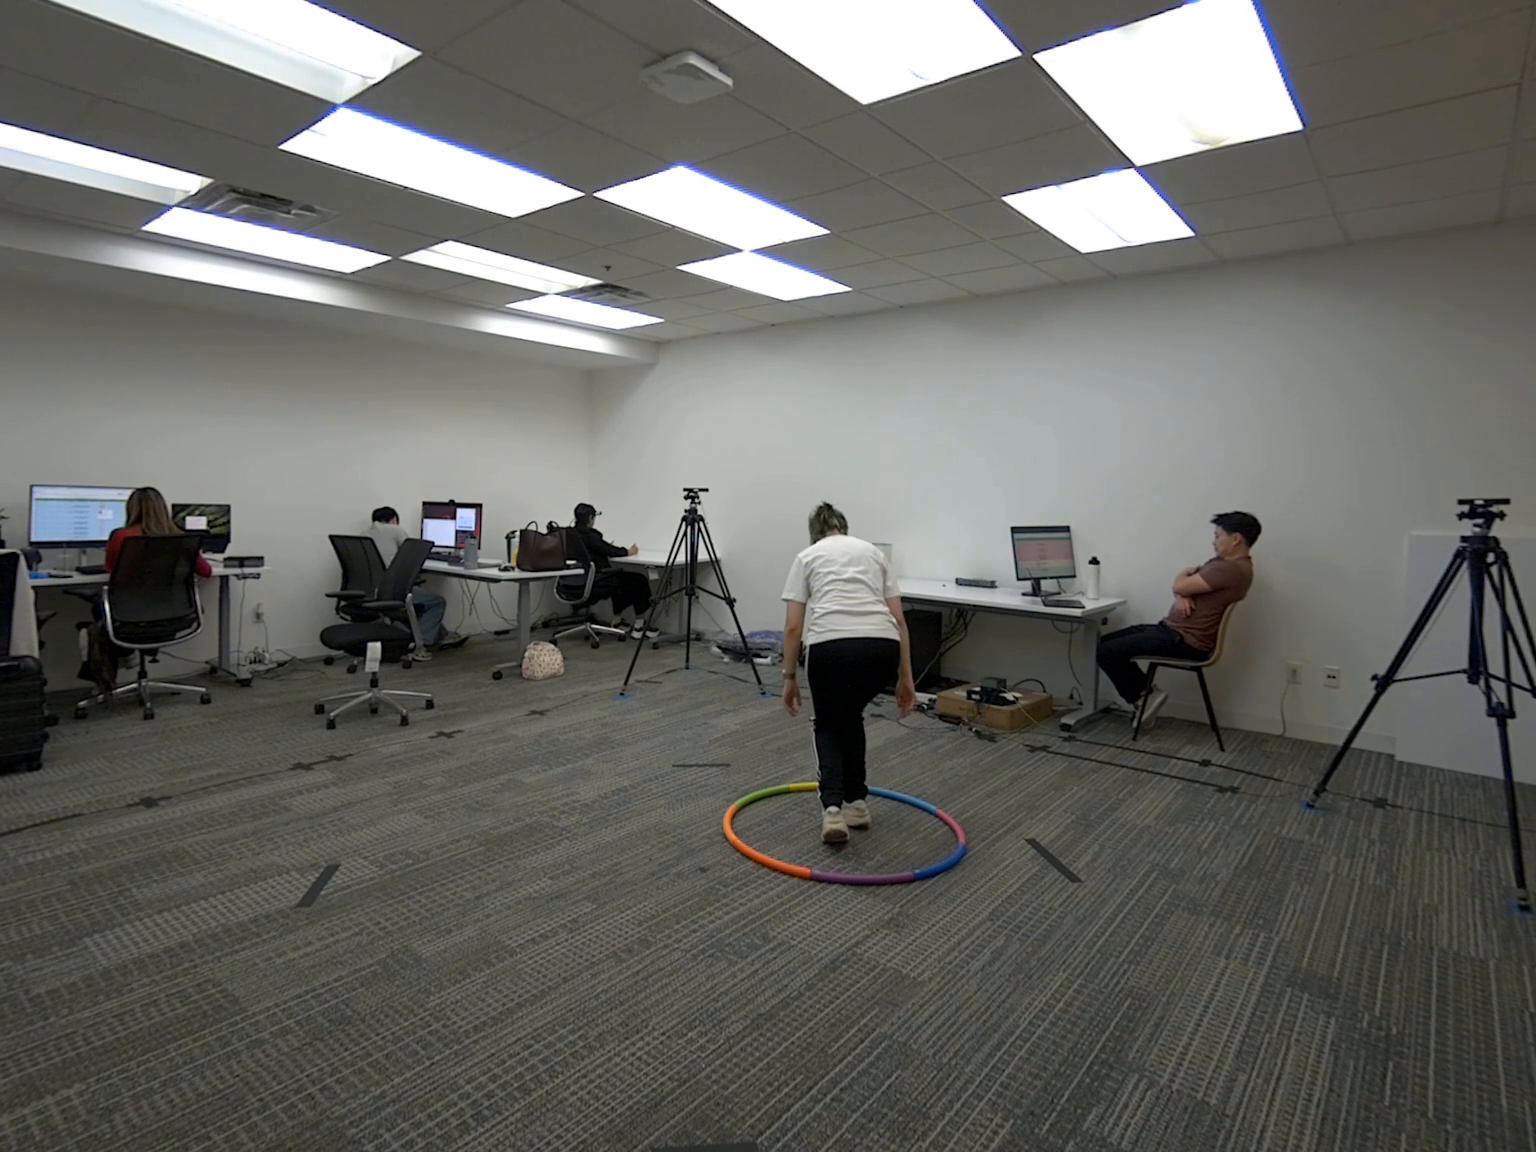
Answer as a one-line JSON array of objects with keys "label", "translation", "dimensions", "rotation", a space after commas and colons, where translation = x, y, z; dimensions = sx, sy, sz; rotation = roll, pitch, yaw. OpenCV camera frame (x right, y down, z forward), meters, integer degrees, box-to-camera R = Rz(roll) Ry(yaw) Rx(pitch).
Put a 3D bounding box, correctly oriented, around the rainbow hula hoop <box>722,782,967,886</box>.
[{"label": "rainbow hula hoop", "translation": [0.297, 1.017, 3.488], "dimensions": [0.984, 0.051, 0.991], "rotation": [1, 6, -2]}]
